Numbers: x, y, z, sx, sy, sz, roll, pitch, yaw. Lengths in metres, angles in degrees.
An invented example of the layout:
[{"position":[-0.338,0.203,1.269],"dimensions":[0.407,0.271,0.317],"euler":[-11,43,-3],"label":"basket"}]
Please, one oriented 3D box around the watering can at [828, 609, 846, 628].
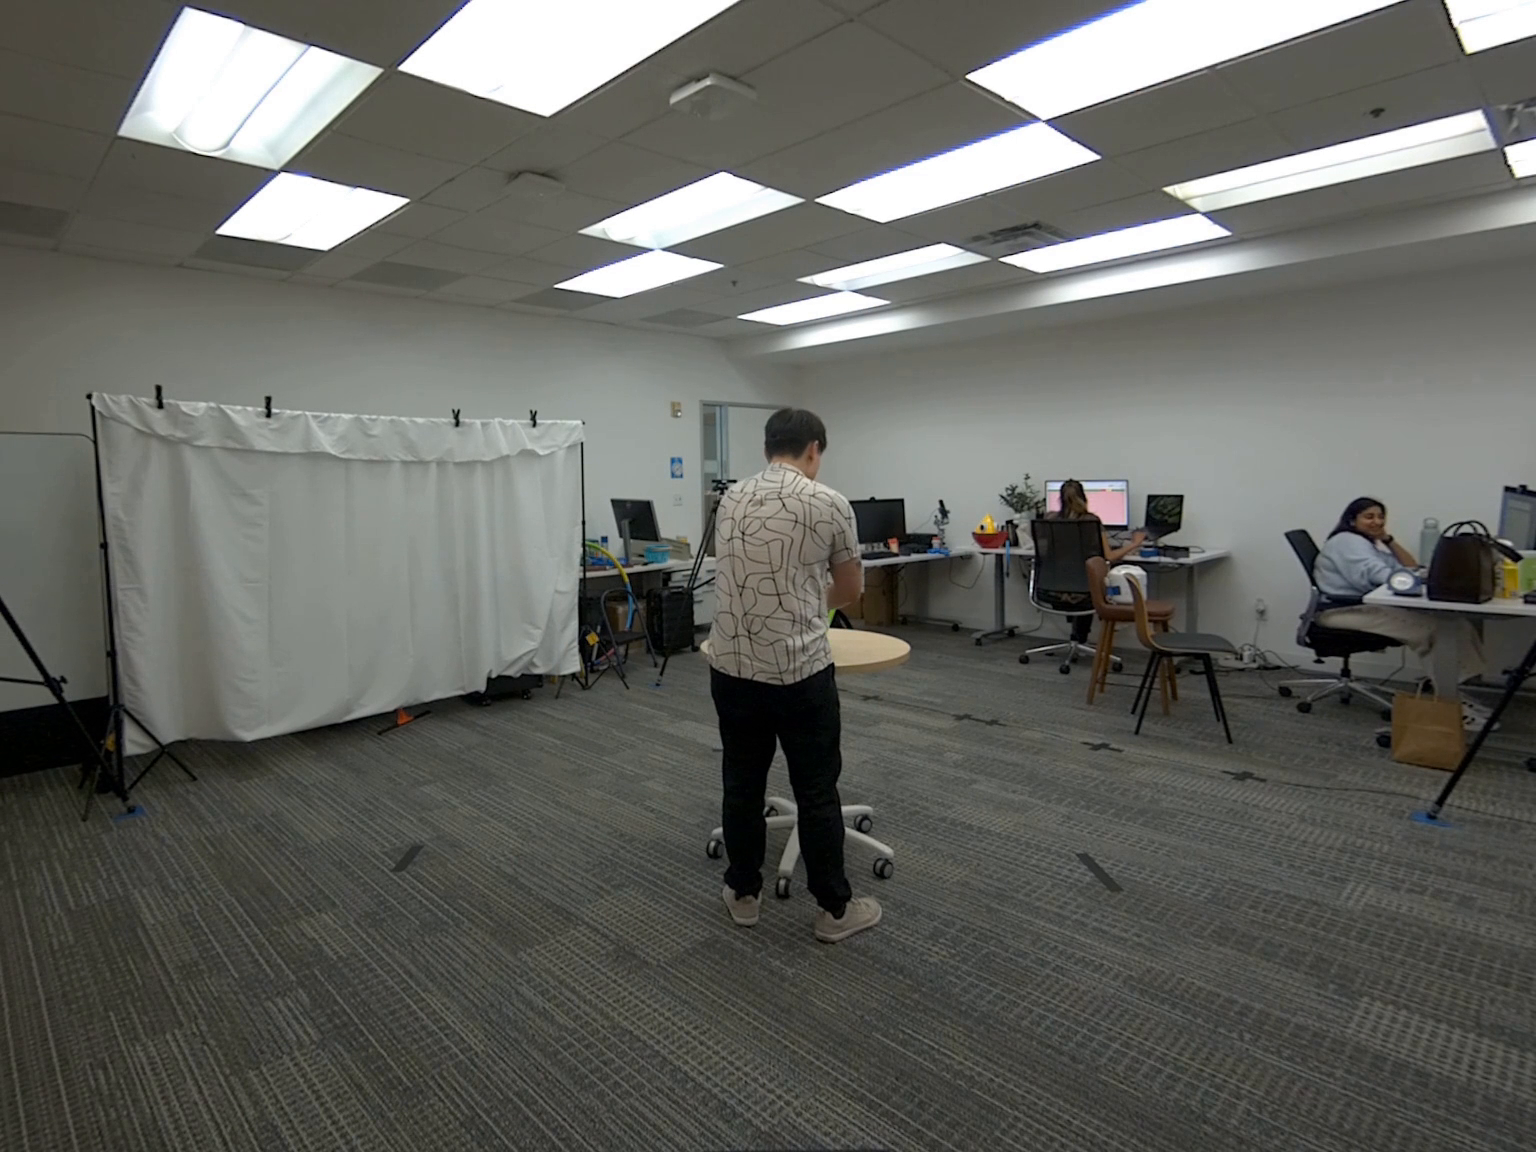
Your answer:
[{"position":[0.189,0.173,3.090],"dimensions":[0.273,0.176,0.100],"euler":[-6,8,-23],"label":"watering can"}]
